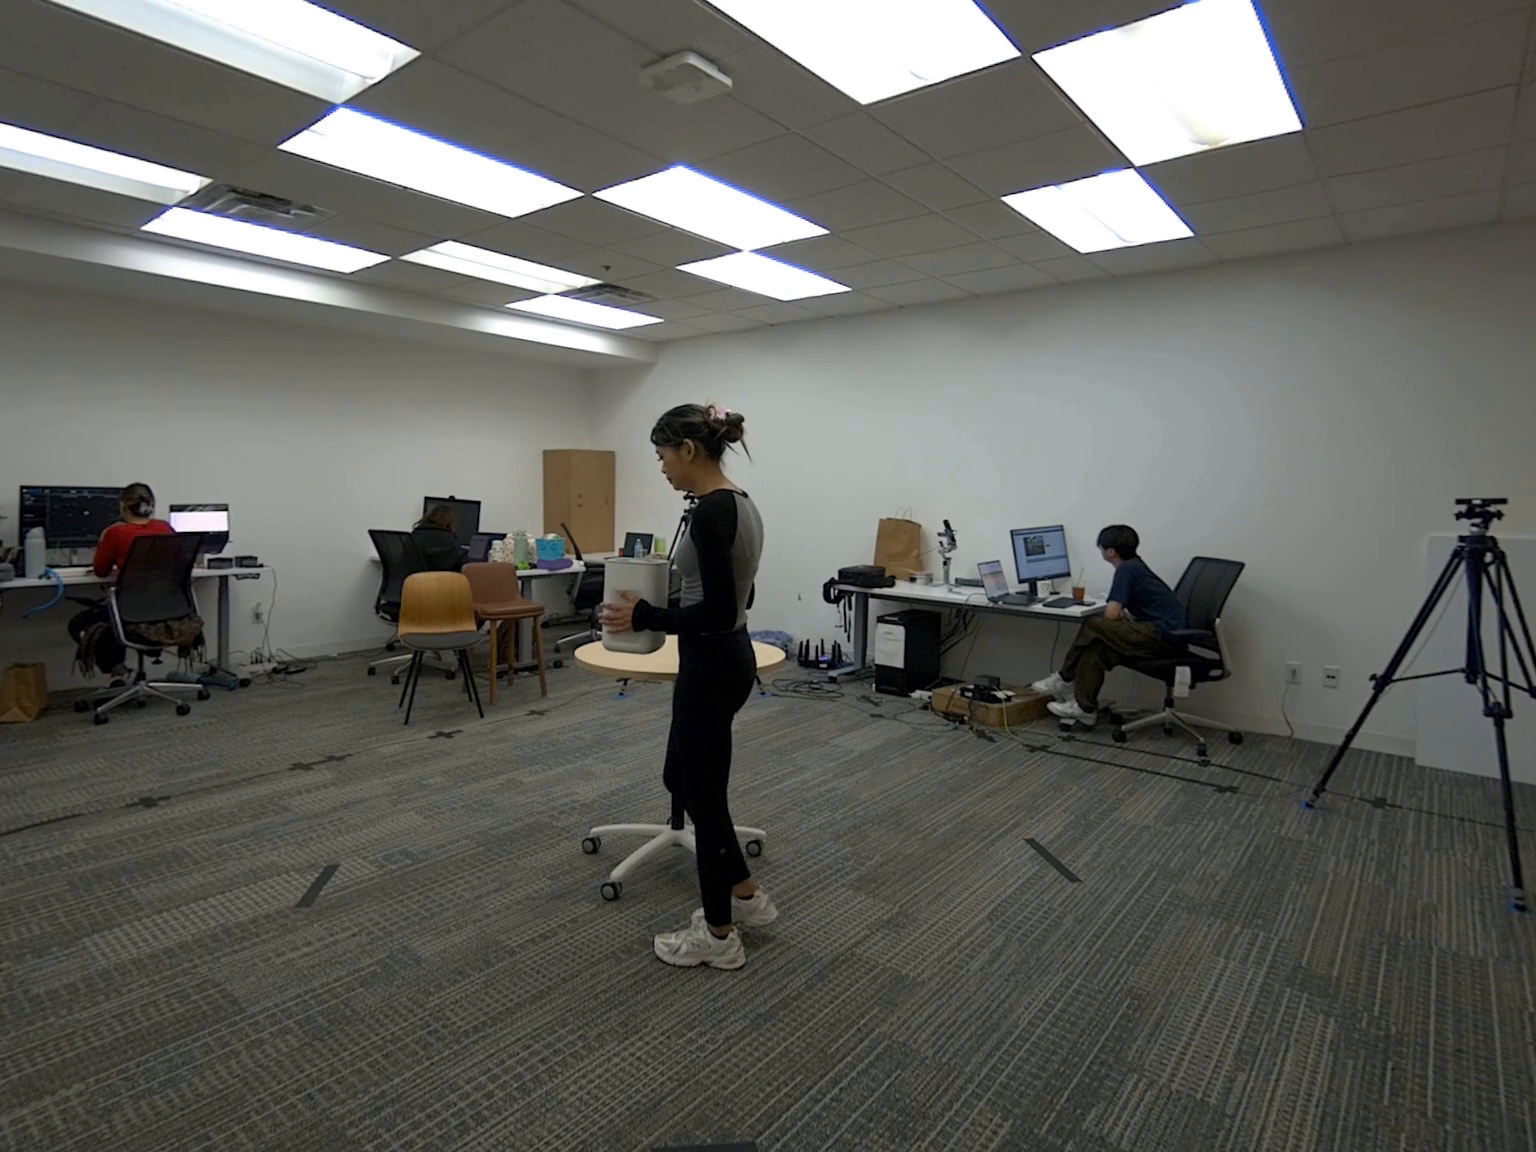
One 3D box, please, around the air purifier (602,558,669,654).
[{"bbox_3d":[-0.395,0.082,2.506,0.171,0.265,0.172,3,1,-2],"label":"air purifier"}]
